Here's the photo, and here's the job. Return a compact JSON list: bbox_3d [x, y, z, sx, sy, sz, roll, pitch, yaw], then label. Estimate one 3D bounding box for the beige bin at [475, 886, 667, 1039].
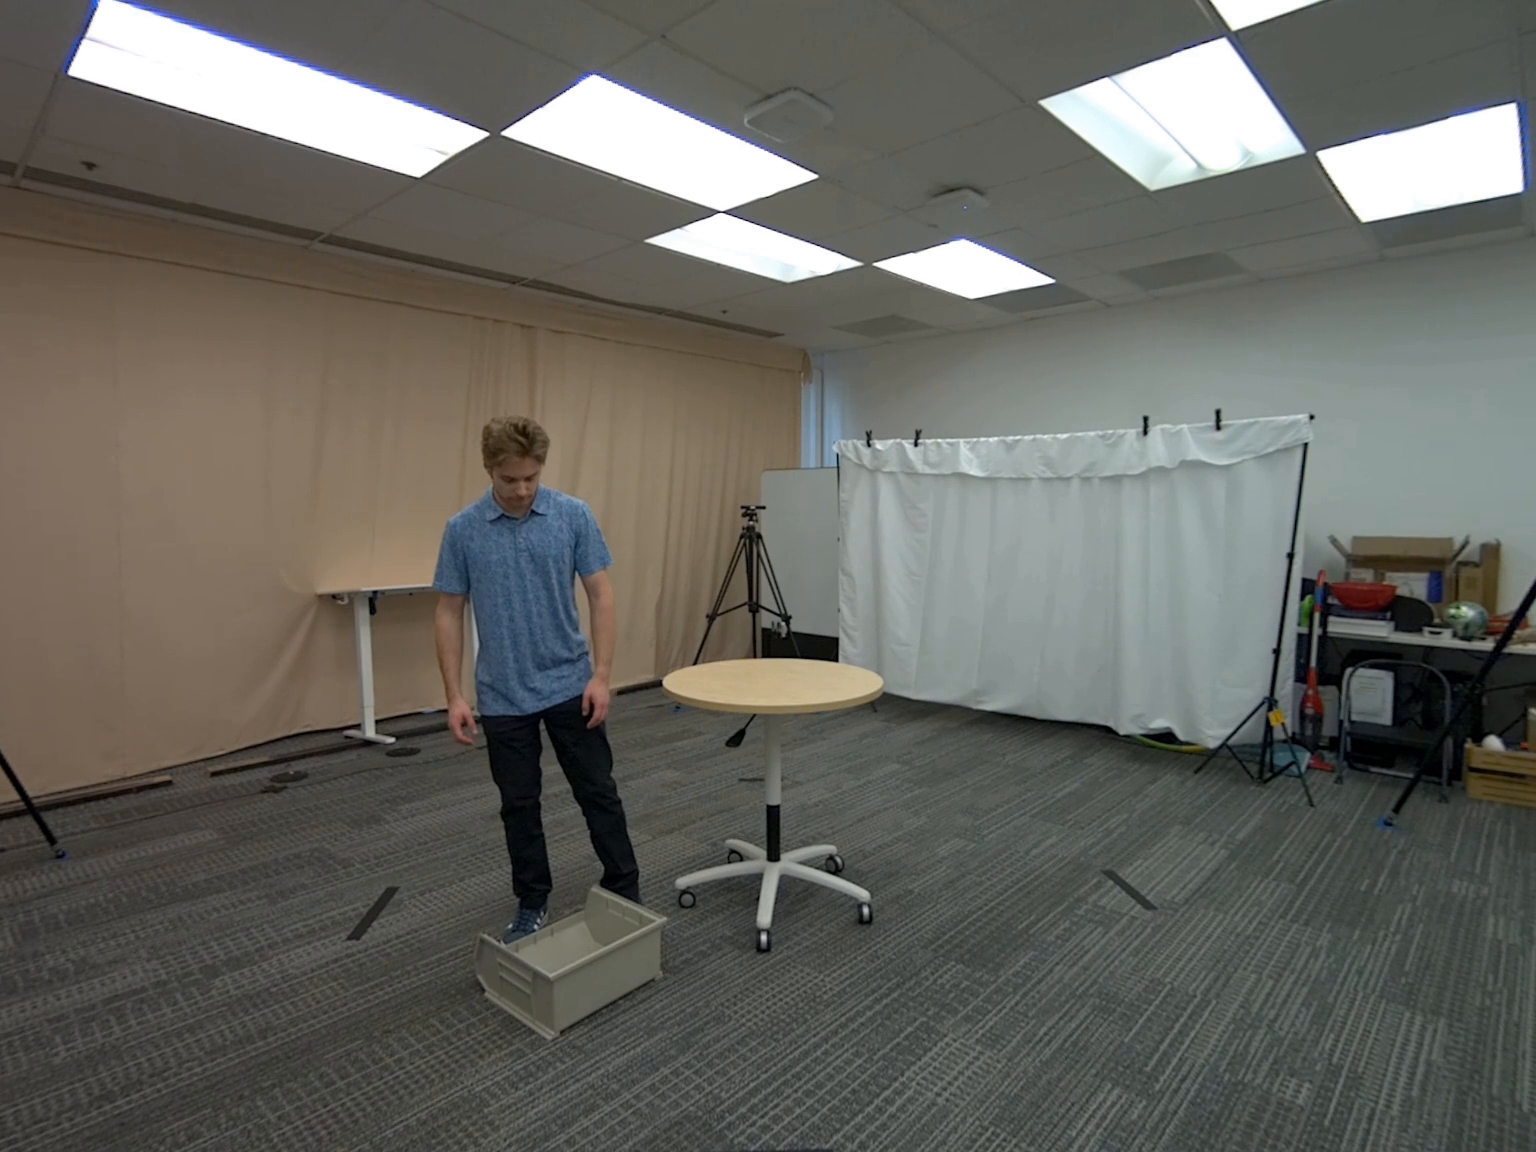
[{"bbox_3d":[-0.573,1.106,2.453,0.390,0.188,0.409,4,5,41],"label":"beige bin"}]
